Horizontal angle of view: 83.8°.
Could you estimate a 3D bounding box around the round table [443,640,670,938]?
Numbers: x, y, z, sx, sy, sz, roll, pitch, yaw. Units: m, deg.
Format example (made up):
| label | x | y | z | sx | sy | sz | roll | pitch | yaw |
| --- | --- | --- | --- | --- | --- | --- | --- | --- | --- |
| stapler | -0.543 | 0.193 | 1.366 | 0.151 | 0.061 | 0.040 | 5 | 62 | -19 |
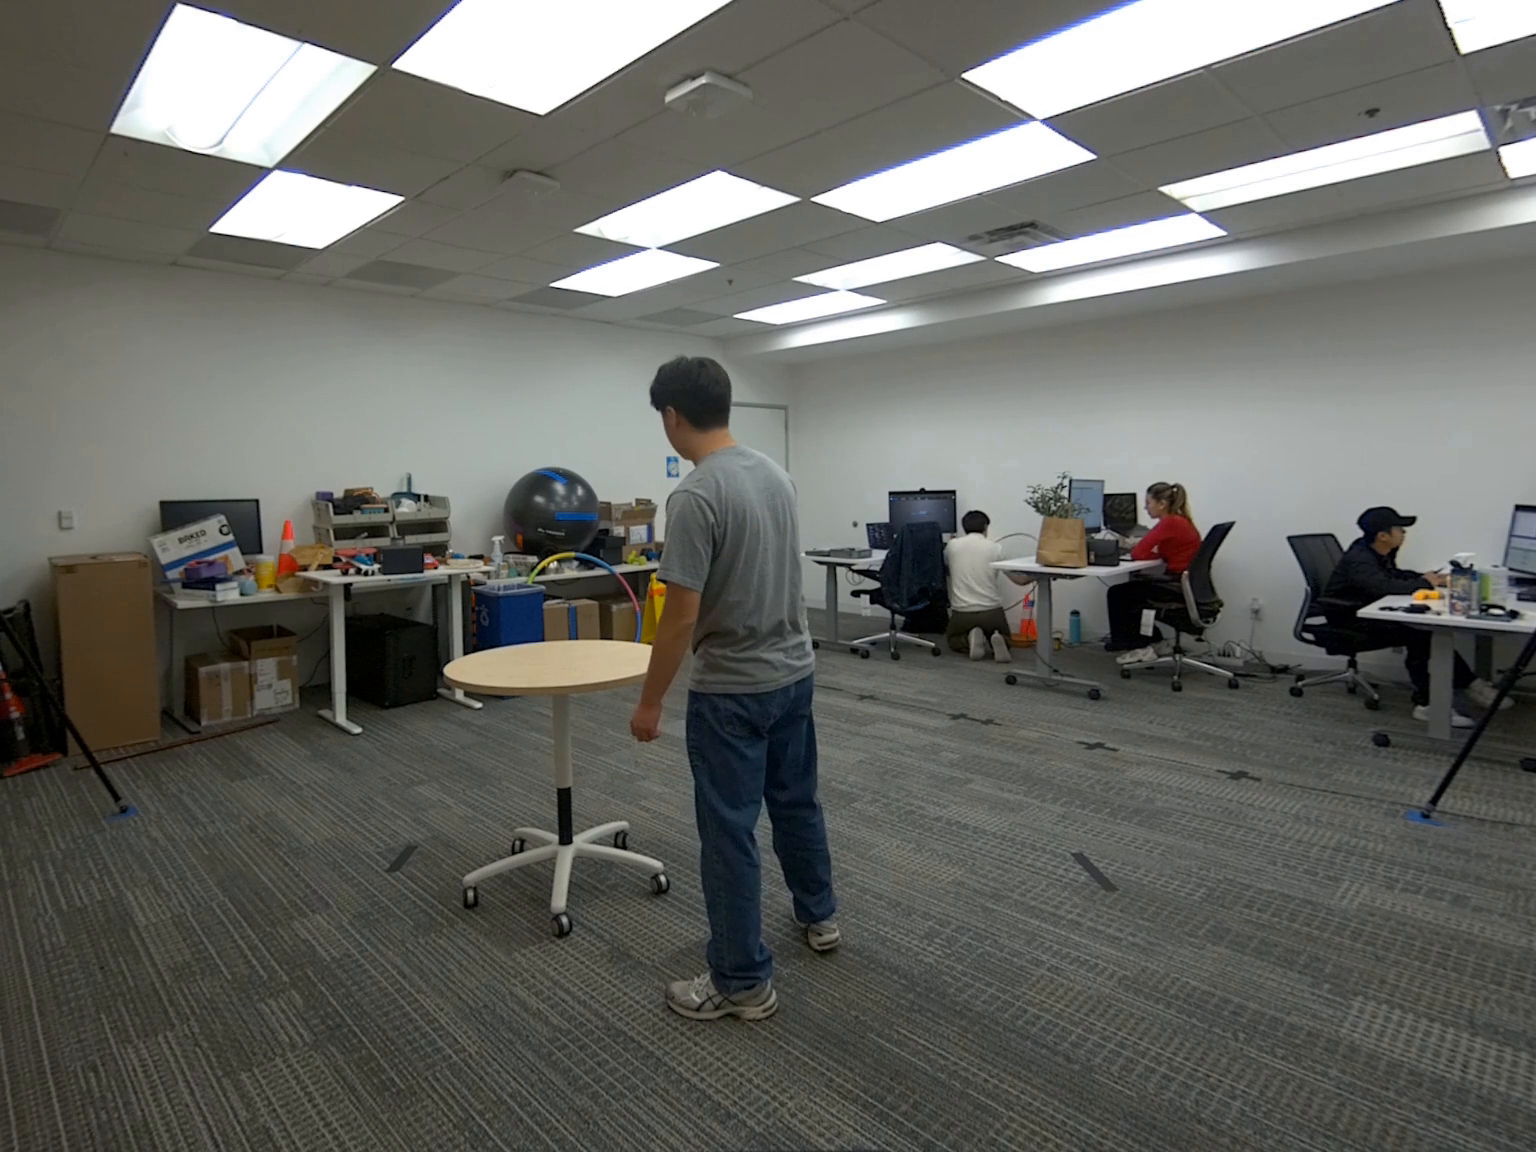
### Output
| label | x | y | z | sx | sy | sz | roll | pitch | yaw |
| --- | --- | --- | --- | --- | --- | --- | --- | --- | --- |
| round table | -0.703 | 0.685 | 2.970 | 0.763 | 0.791 | 0.768 | -2 | 5 | -2 |
